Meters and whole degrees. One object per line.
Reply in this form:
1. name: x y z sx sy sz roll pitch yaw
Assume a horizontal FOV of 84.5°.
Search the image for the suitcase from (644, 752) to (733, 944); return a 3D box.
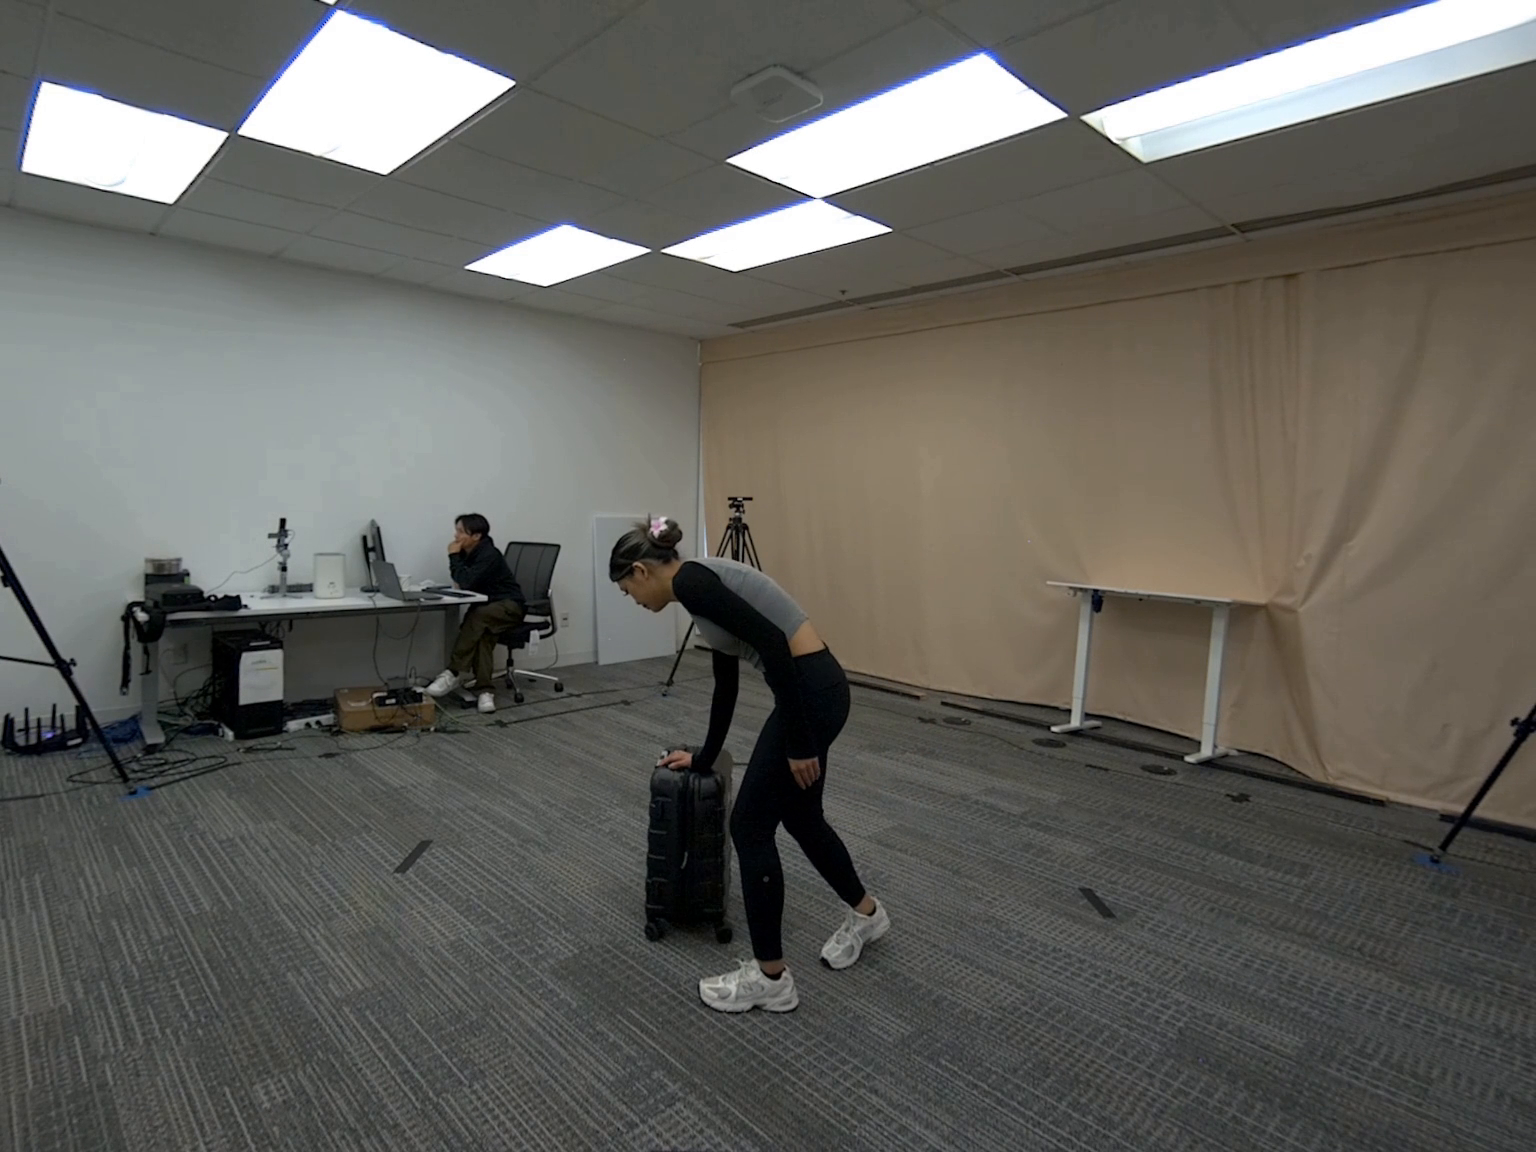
1. suitcase: -0.259 0.860 2.786 0.249 0.548 0.376 1 4 1
